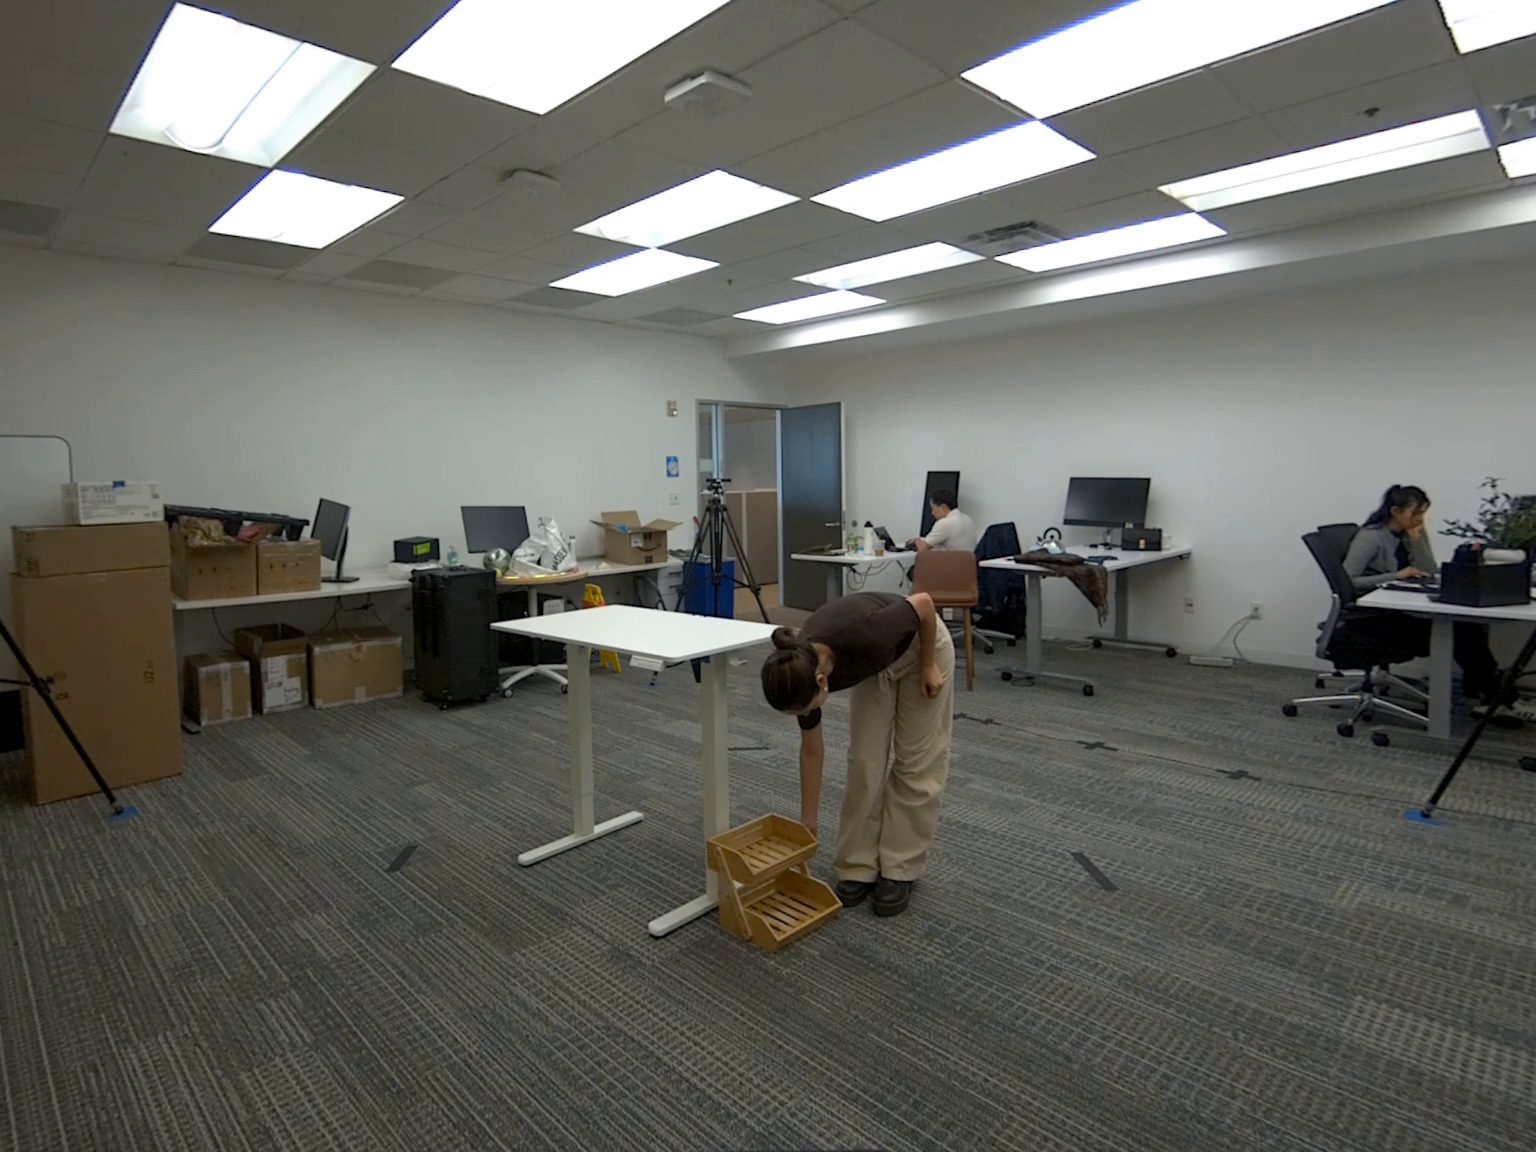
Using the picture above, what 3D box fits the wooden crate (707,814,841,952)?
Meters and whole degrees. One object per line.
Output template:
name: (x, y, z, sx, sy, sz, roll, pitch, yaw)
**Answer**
wooden crate: (0.027, 0.956, 2.703, 0.311, 0.272, 0.316, 3, 7, 44)
